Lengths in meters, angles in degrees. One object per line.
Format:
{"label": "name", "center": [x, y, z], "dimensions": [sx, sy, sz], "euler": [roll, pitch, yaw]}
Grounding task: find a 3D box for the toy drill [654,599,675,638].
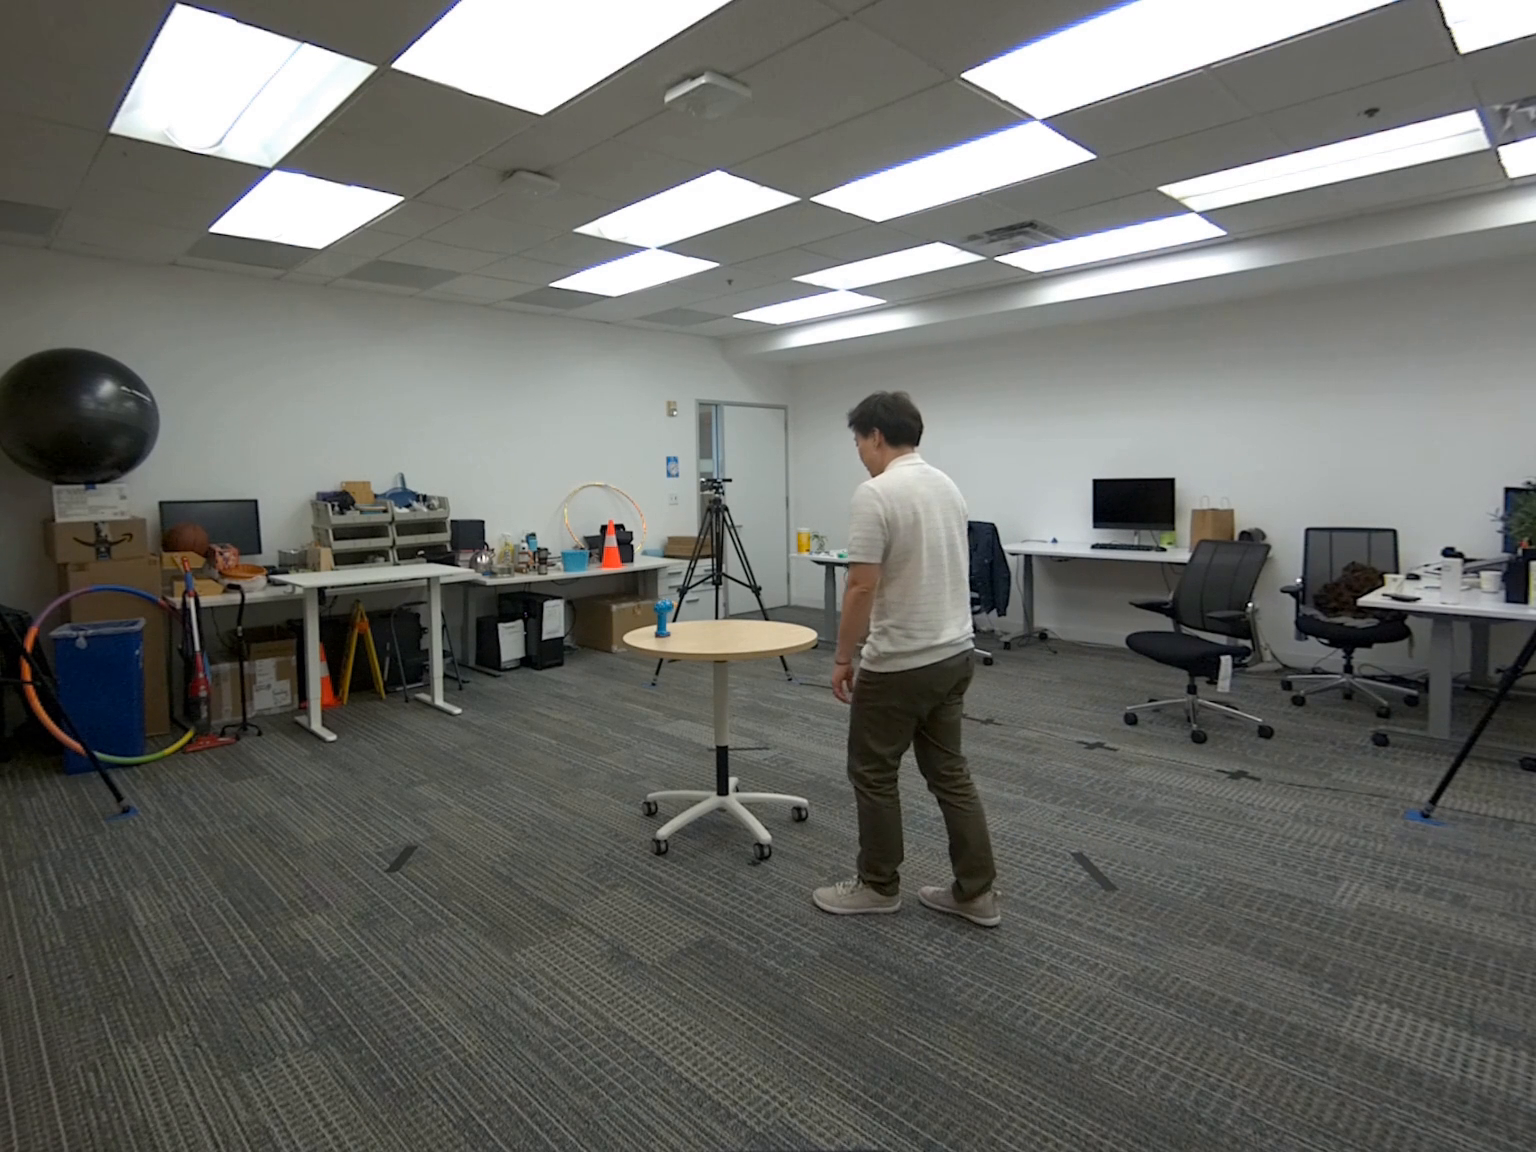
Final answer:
{"label": "toy drill", "center": [-0.409, 0.162, 3.396], "dimensions": [0.062, 0.145, 0.168], "euler": [3, 5, 15]}
